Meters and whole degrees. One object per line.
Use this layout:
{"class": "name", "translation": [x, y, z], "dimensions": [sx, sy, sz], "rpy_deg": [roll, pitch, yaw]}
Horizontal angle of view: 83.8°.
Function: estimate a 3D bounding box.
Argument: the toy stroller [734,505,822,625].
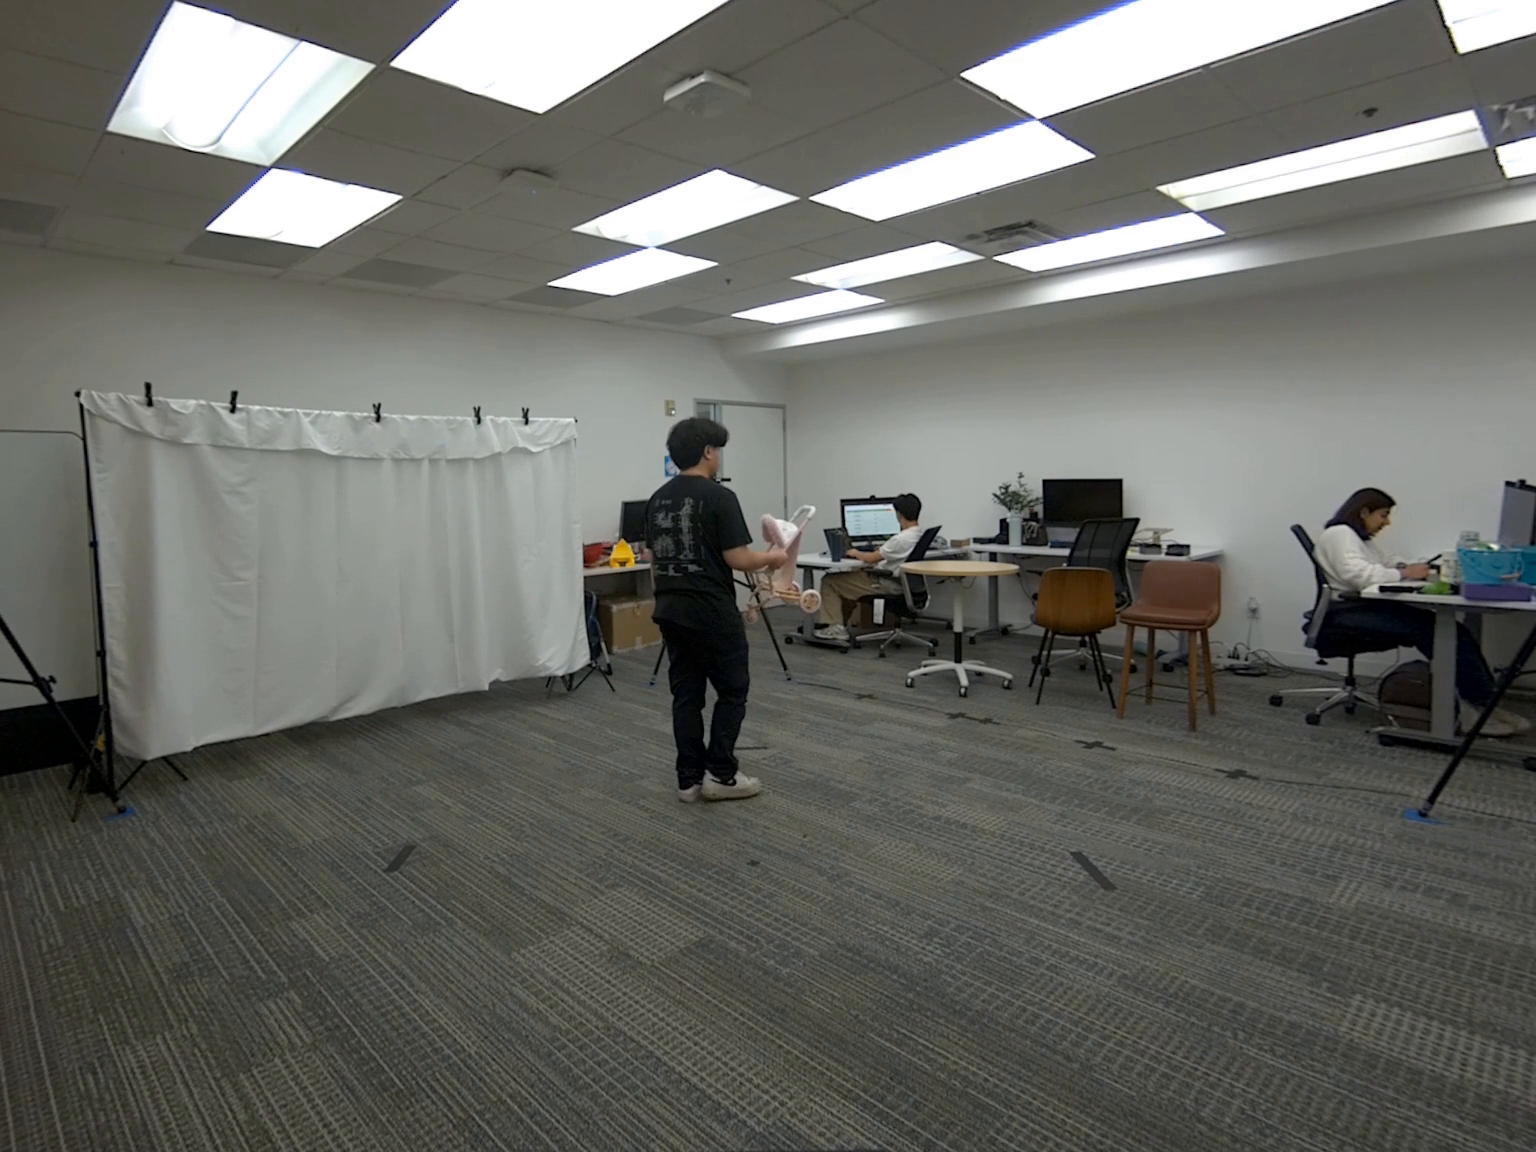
{"class": "toy stroller", "translation": [0.042, -0.046, 3.931], "dimensions": [0.338, 0.531, 0.286], "rpy_deg": [-3, 8, -11]}
